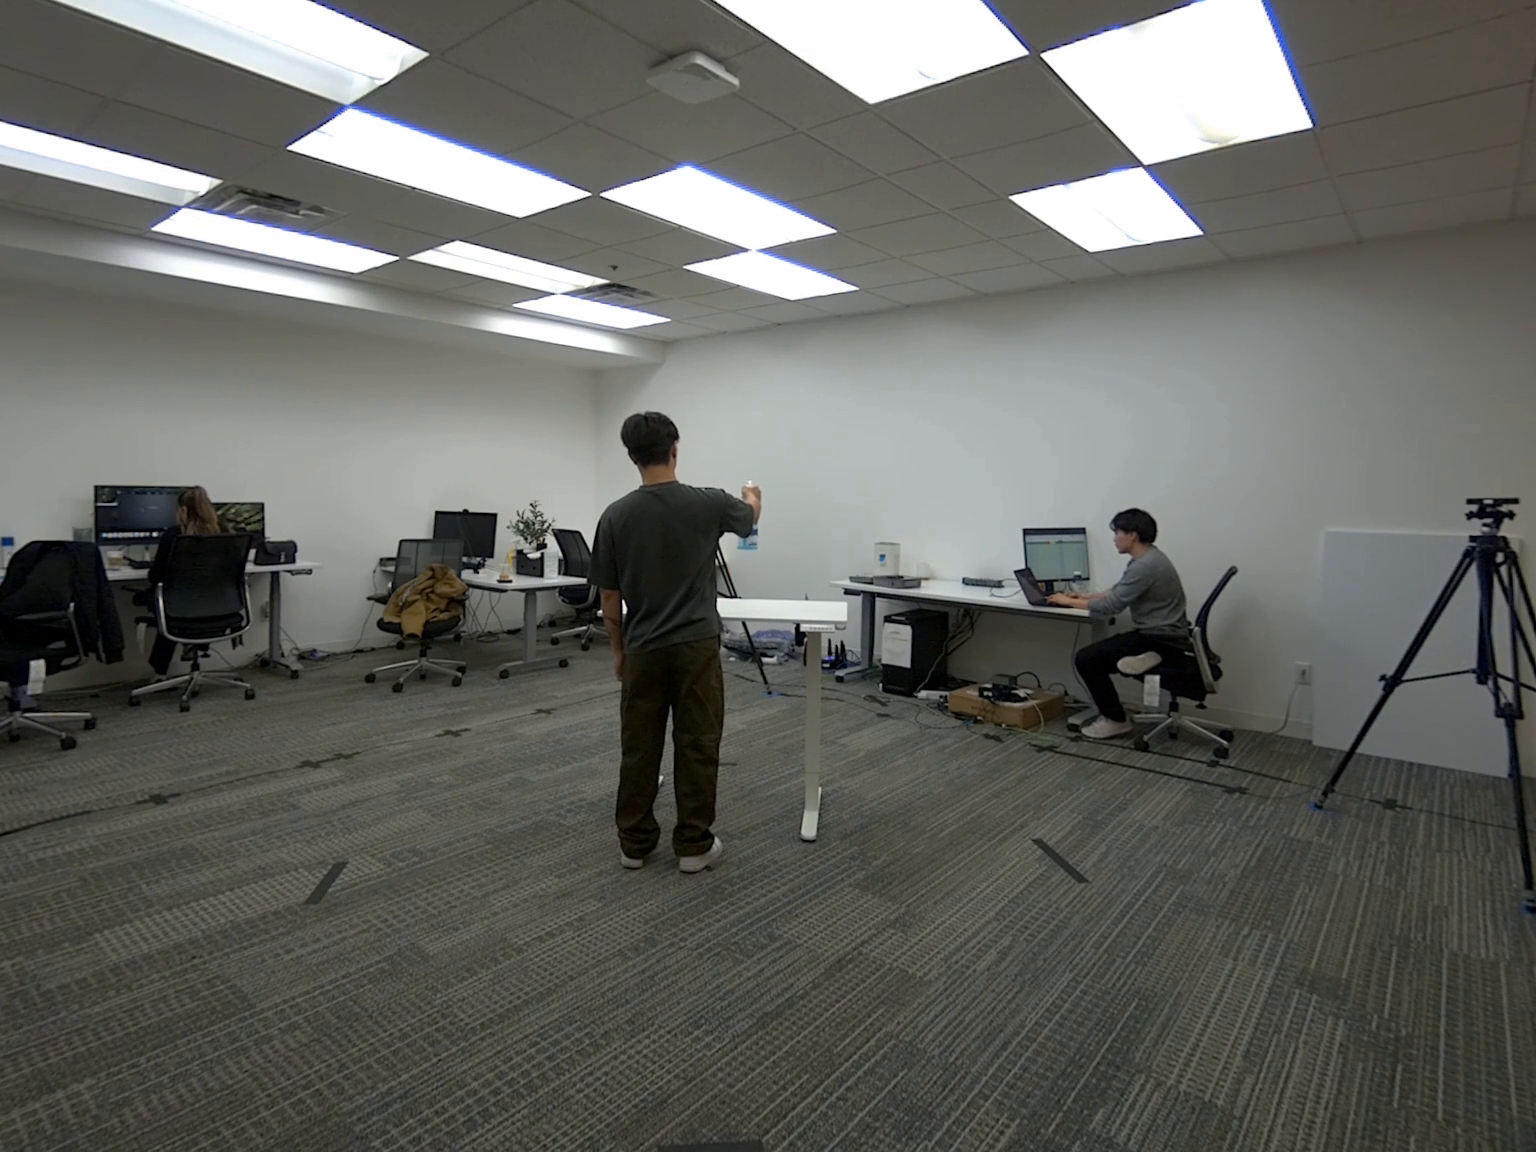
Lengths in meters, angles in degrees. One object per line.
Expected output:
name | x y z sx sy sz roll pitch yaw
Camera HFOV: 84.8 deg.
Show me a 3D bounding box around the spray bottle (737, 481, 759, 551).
spray bottle | -0.090 -0.259 3.642 0.089 0.297 0.088 1 0 19
